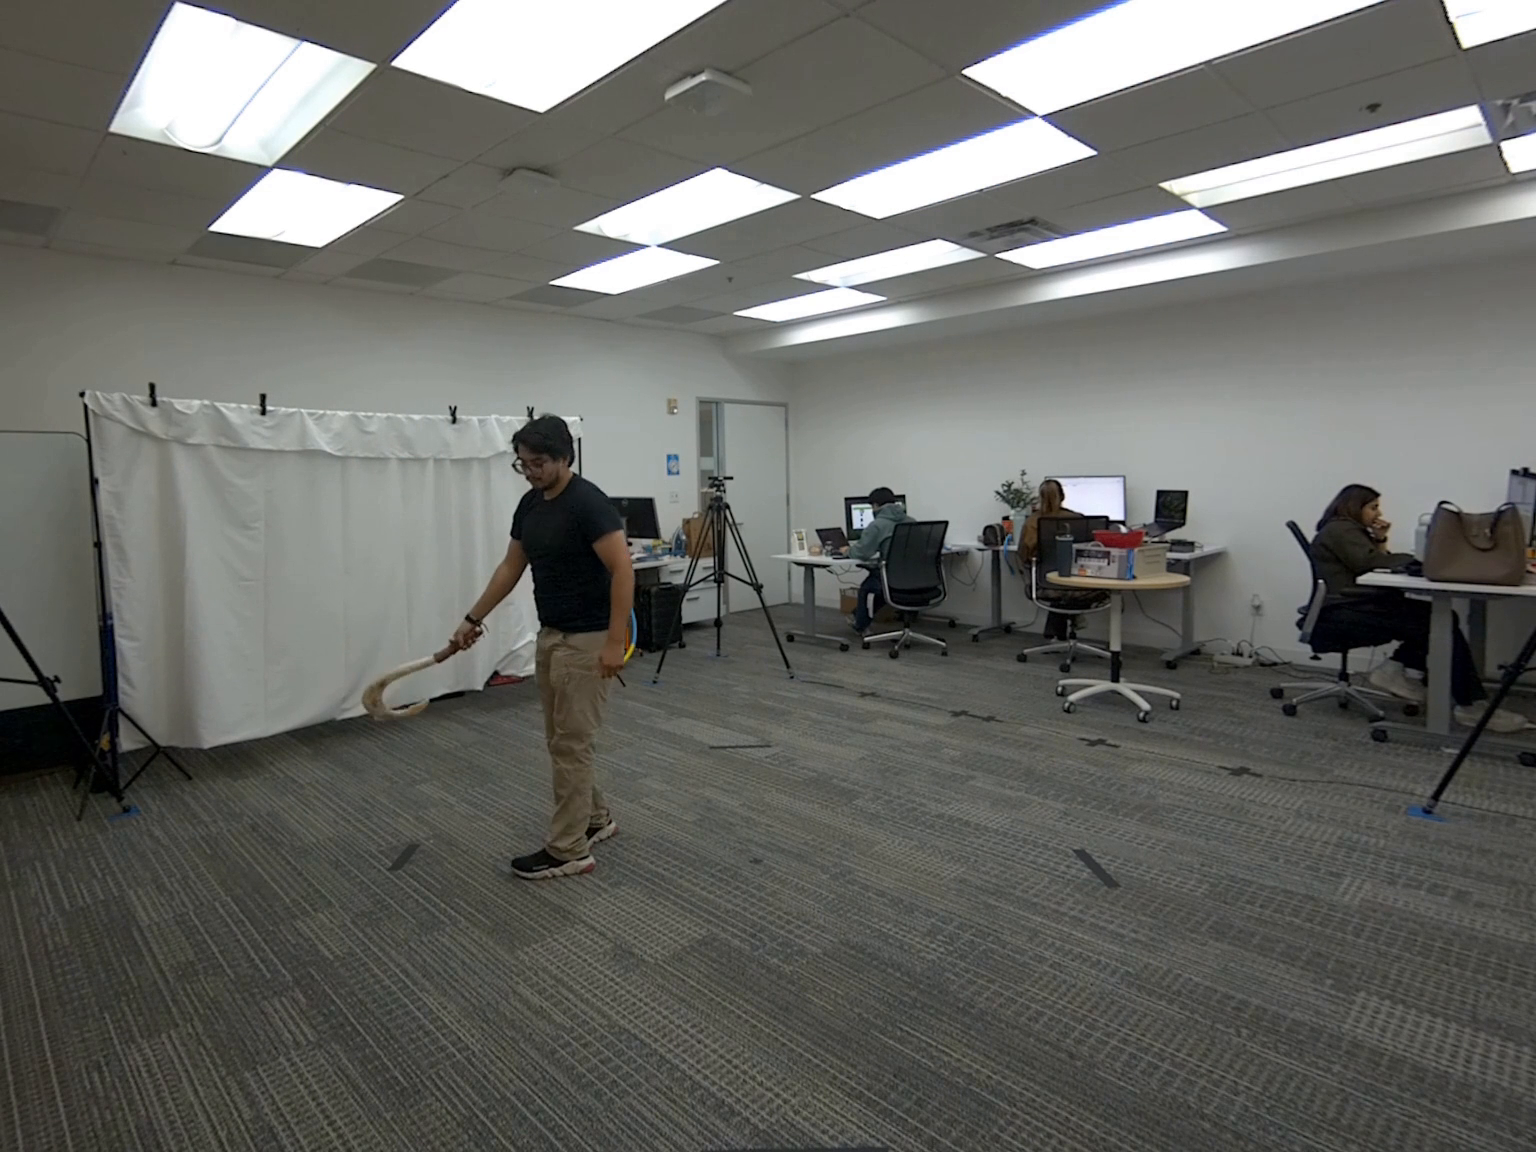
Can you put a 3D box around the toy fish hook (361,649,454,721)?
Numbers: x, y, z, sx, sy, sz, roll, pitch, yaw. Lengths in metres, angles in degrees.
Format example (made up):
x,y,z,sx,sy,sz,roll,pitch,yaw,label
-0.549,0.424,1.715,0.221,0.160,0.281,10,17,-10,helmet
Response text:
x,y,z,sx,sy,sz,roll,pitch,yaw,label
-1.279,0.379,3.254,0.504,0.217,0.050,-31,39,-11,toy fish hook
